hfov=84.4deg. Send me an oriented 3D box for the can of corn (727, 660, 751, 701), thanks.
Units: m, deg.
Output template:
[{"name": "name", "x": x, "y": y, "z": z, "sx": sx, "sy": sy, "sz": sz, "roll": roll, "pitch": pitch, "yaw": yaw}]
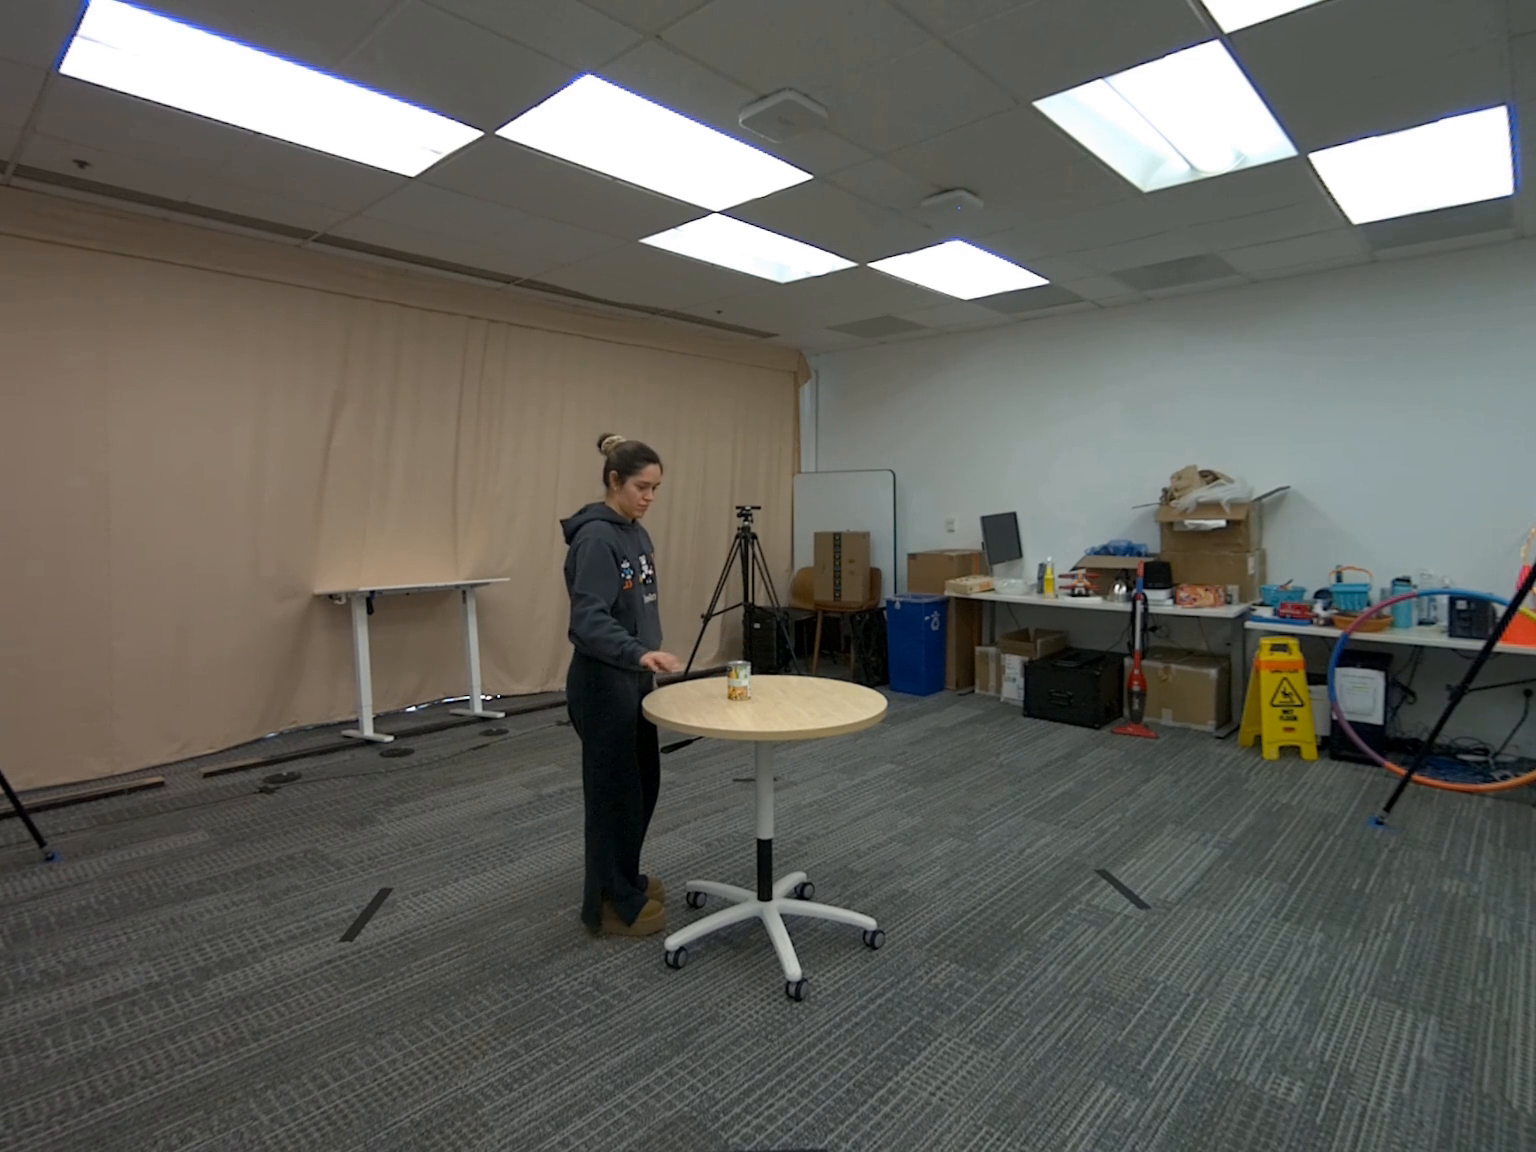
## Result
[{"name": "can of corn", "x": -0.077, "y": 0.335, "z": 2.660, "sx": 0.074, "sy": 0.111, "sz": 0.074, "roll": -5, "pitch": 2, "yaw": -2}]
